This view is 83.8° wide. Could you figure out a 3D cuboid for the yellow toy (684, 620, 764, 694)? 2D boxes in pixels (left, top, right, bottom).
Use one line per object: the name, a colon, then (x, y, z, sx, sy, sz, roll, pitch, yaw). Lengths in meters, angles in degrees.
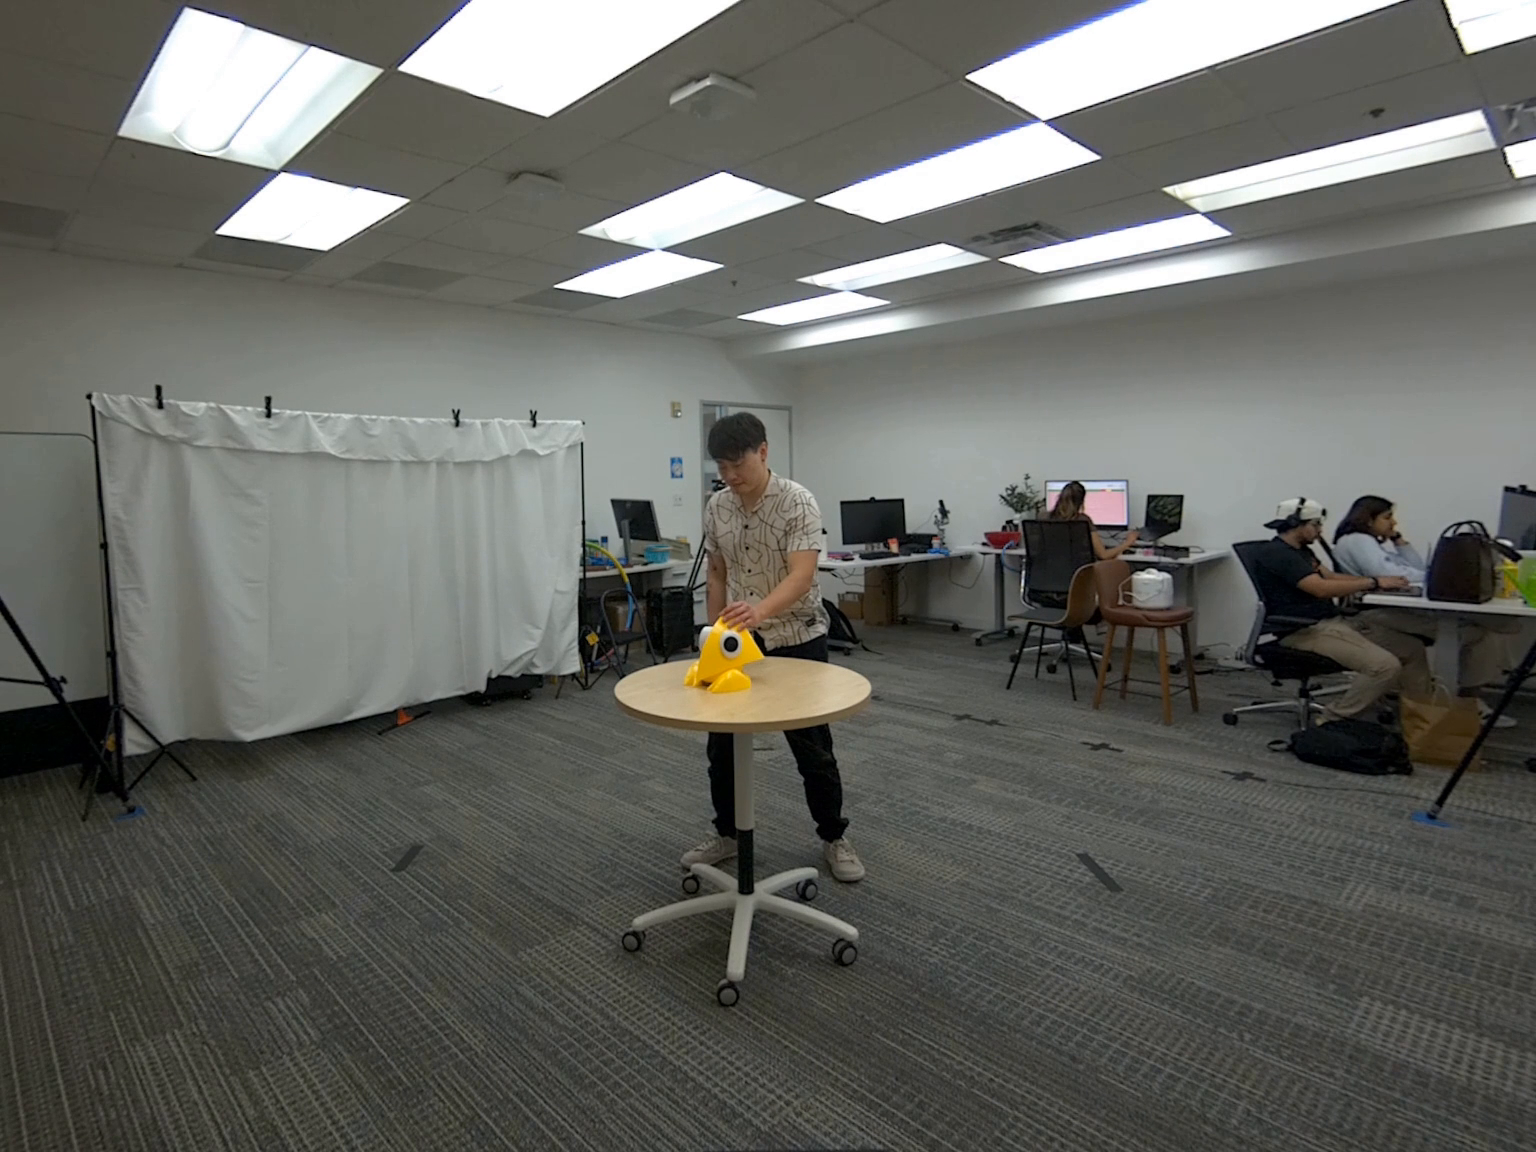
yellow toy: (-0.146, 0.216, 2.574, 0.211, 0.230, 0.188, 5, 7, 45)
